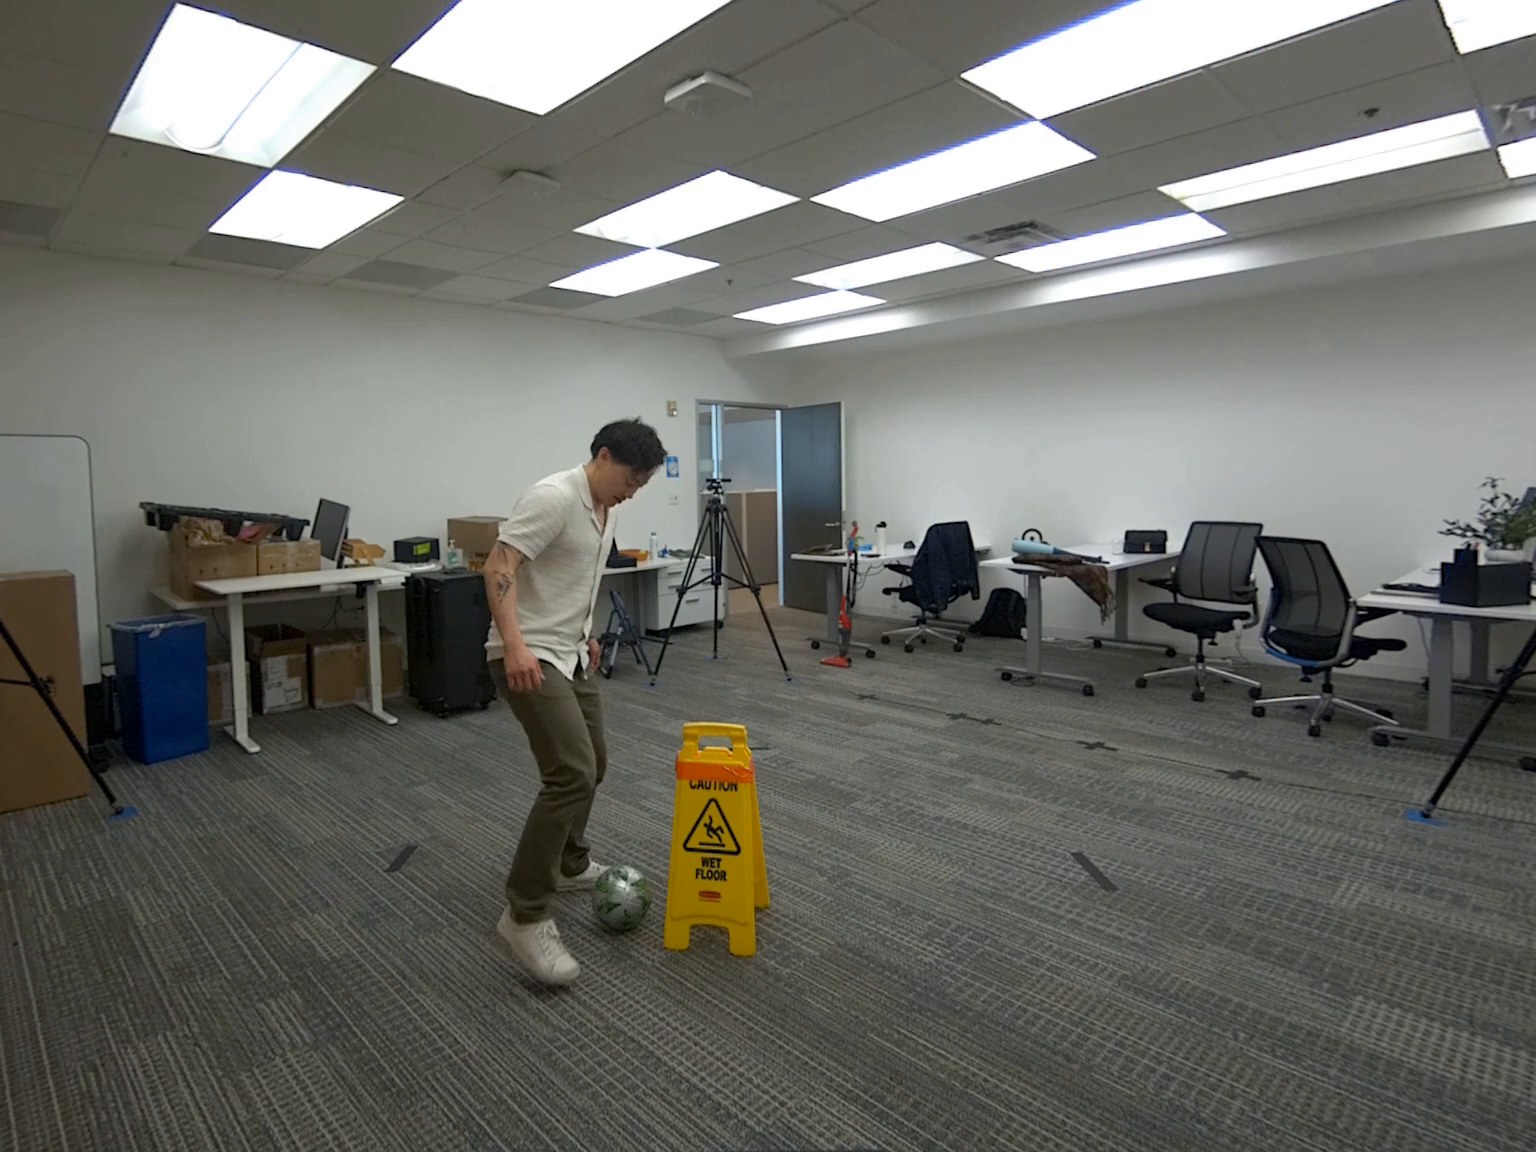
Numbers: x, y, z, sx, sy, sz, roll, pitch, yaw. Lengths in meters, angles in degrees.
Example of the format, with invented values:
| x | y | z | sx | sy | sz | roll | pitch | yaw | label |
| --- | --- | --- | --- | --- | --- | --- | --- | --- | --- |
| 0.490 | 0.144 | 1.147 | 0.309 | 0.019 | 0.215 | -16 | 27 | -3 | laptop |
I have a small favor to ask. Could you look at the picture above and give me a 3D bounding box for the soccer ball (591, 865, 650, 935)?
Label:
| x | y | z | sx | sy | sz | roll | pitch | yaw | label |
| --- | --- | --- | --- | --- | --- | --- | --- | --- | --- |
| -0.454 | 1.010 | 2.682 | 0.187 | 0.187 | 0.188 | -1 | 5 | -2 | soccer ball |
